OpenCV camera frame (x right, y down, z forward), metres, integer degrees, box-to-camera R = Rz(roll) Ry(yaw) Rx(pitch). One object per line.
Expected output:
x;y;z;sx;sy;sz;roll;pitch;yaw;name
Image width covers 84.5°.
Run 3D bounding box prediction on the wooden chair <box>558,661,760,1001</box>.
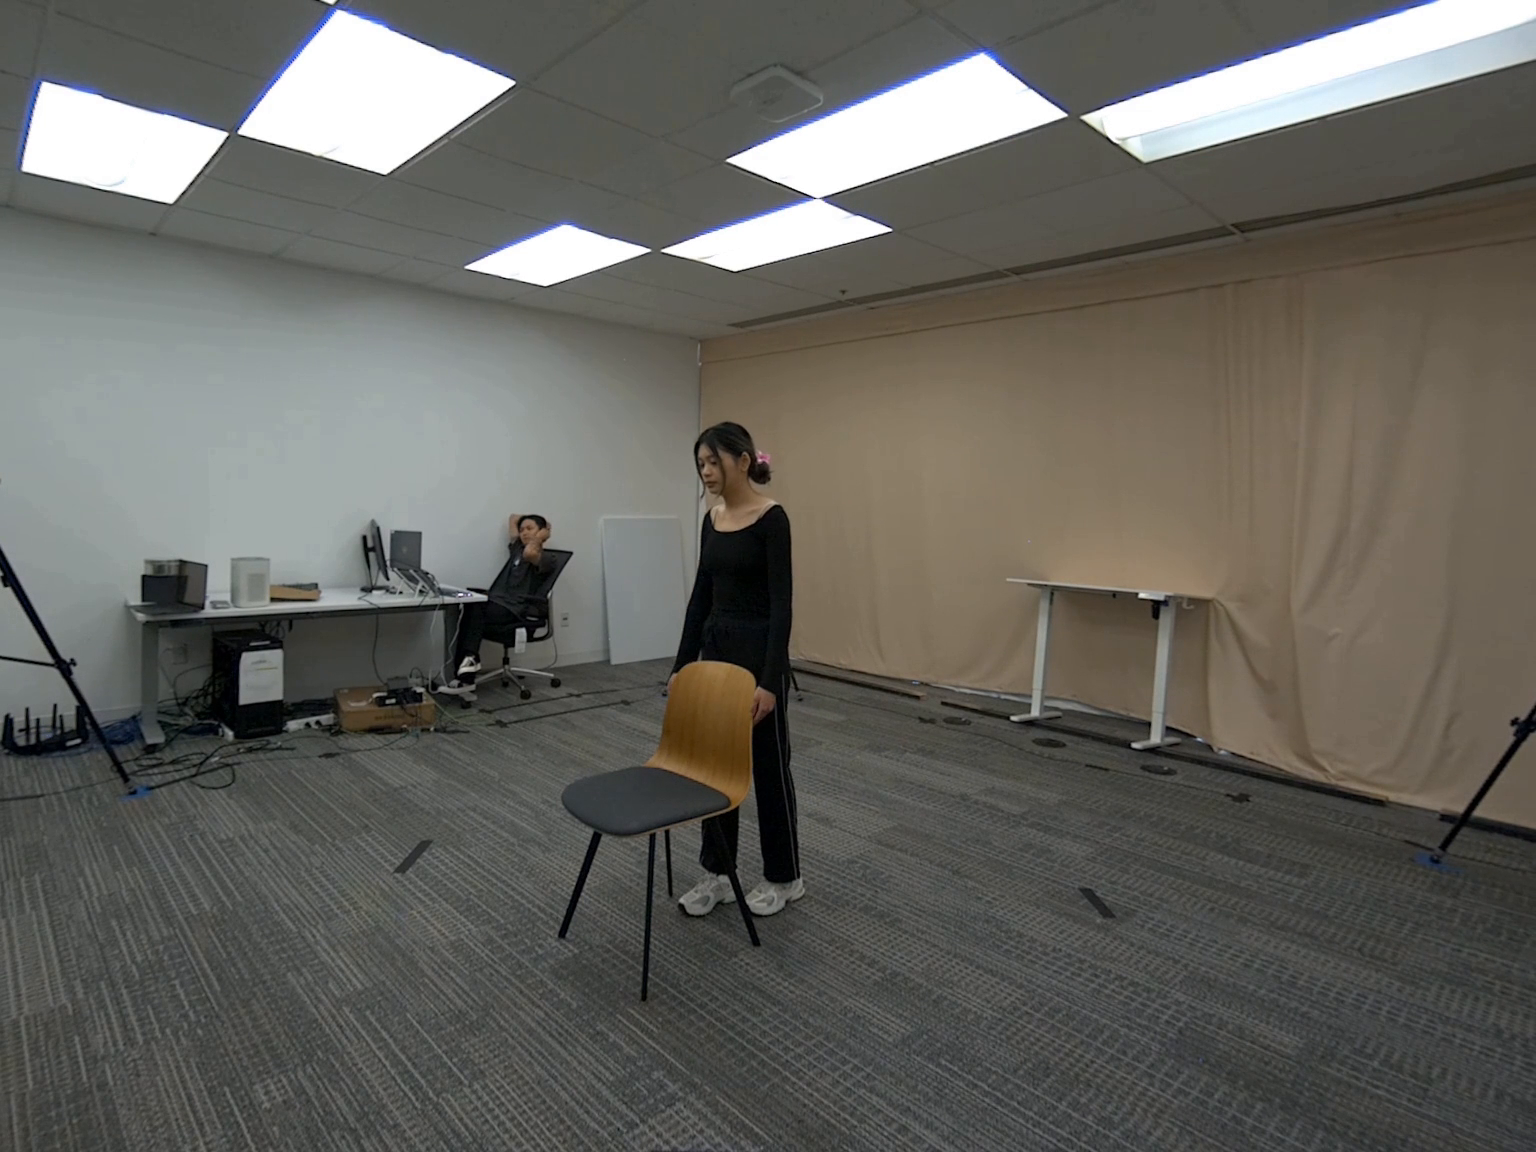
-0.338;0.723;2.592;0.510;0.878;0.490;5;0;-44;wooden chair
